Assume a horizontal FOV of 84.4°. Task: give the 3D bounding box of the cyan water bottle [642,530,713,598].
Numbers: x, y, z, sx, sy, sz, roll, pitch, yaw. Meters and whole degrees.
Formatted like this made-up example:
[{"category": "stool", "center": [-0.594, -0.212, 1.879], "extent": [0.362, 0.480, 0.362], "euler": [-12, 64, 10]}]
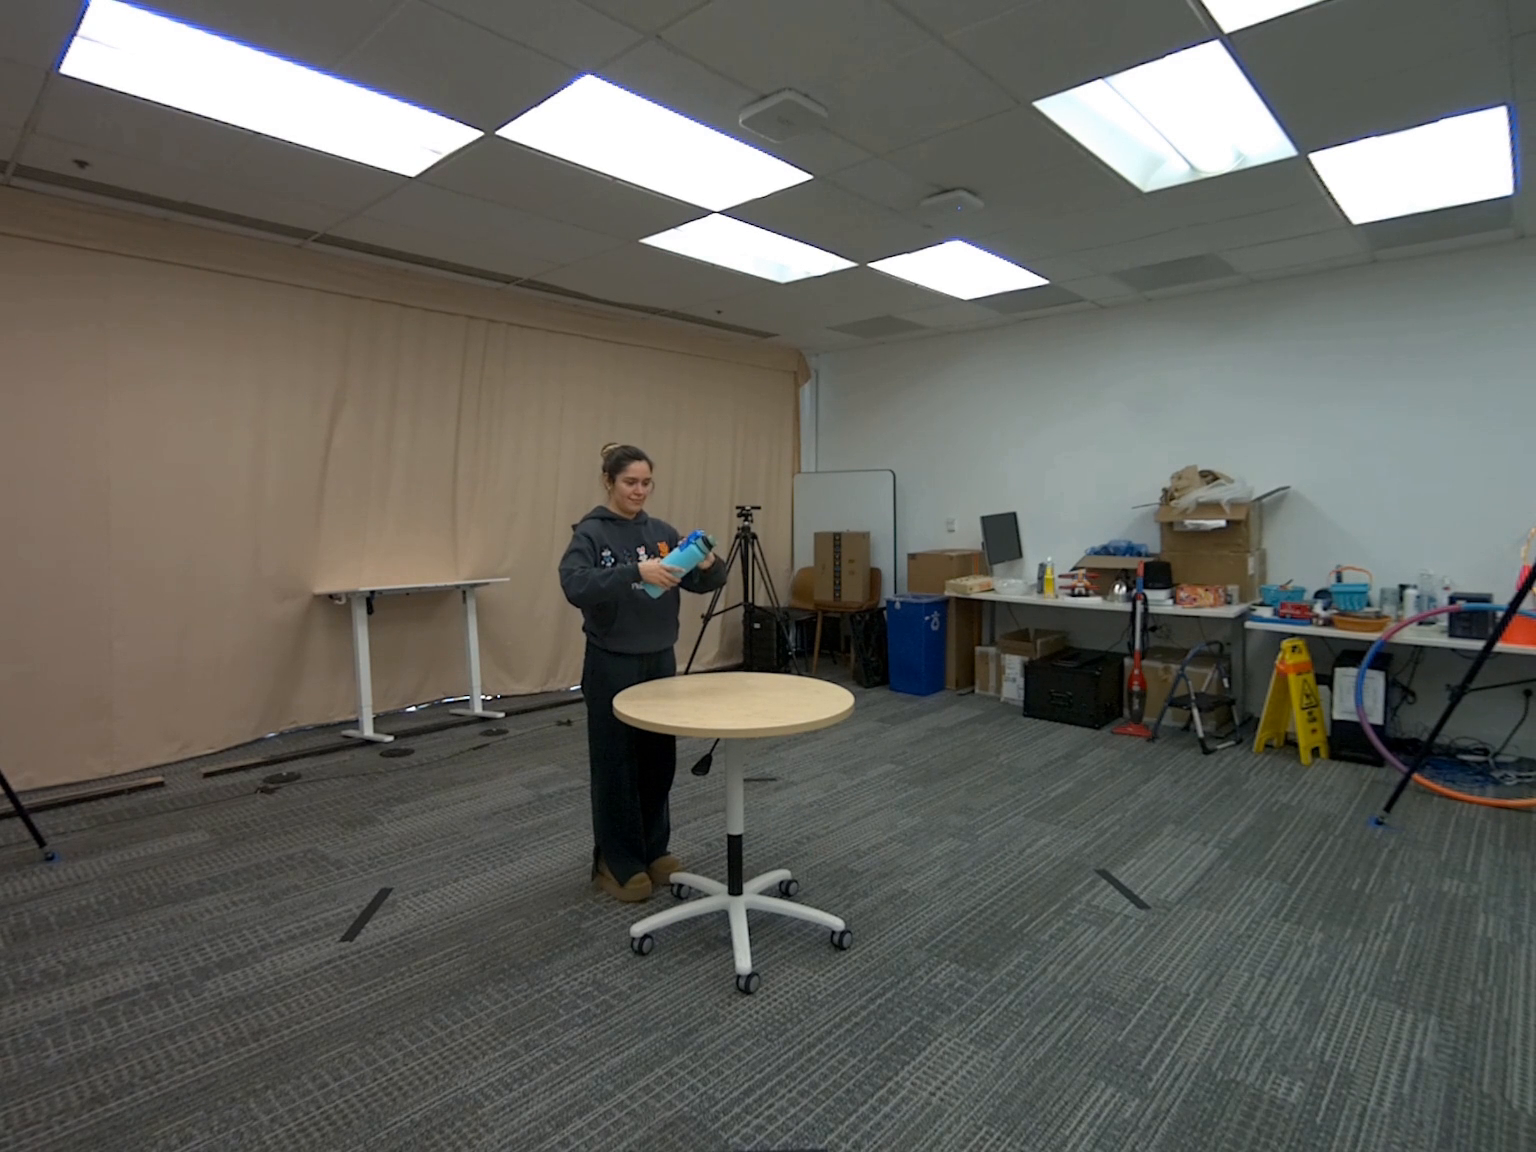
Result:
[{"category": "cyan water bottle", "center": [-0.288, -0.048, 2.840], "extent": [0.284, 0.093, 0.091], "euler": [-38, -2, 10]}]
